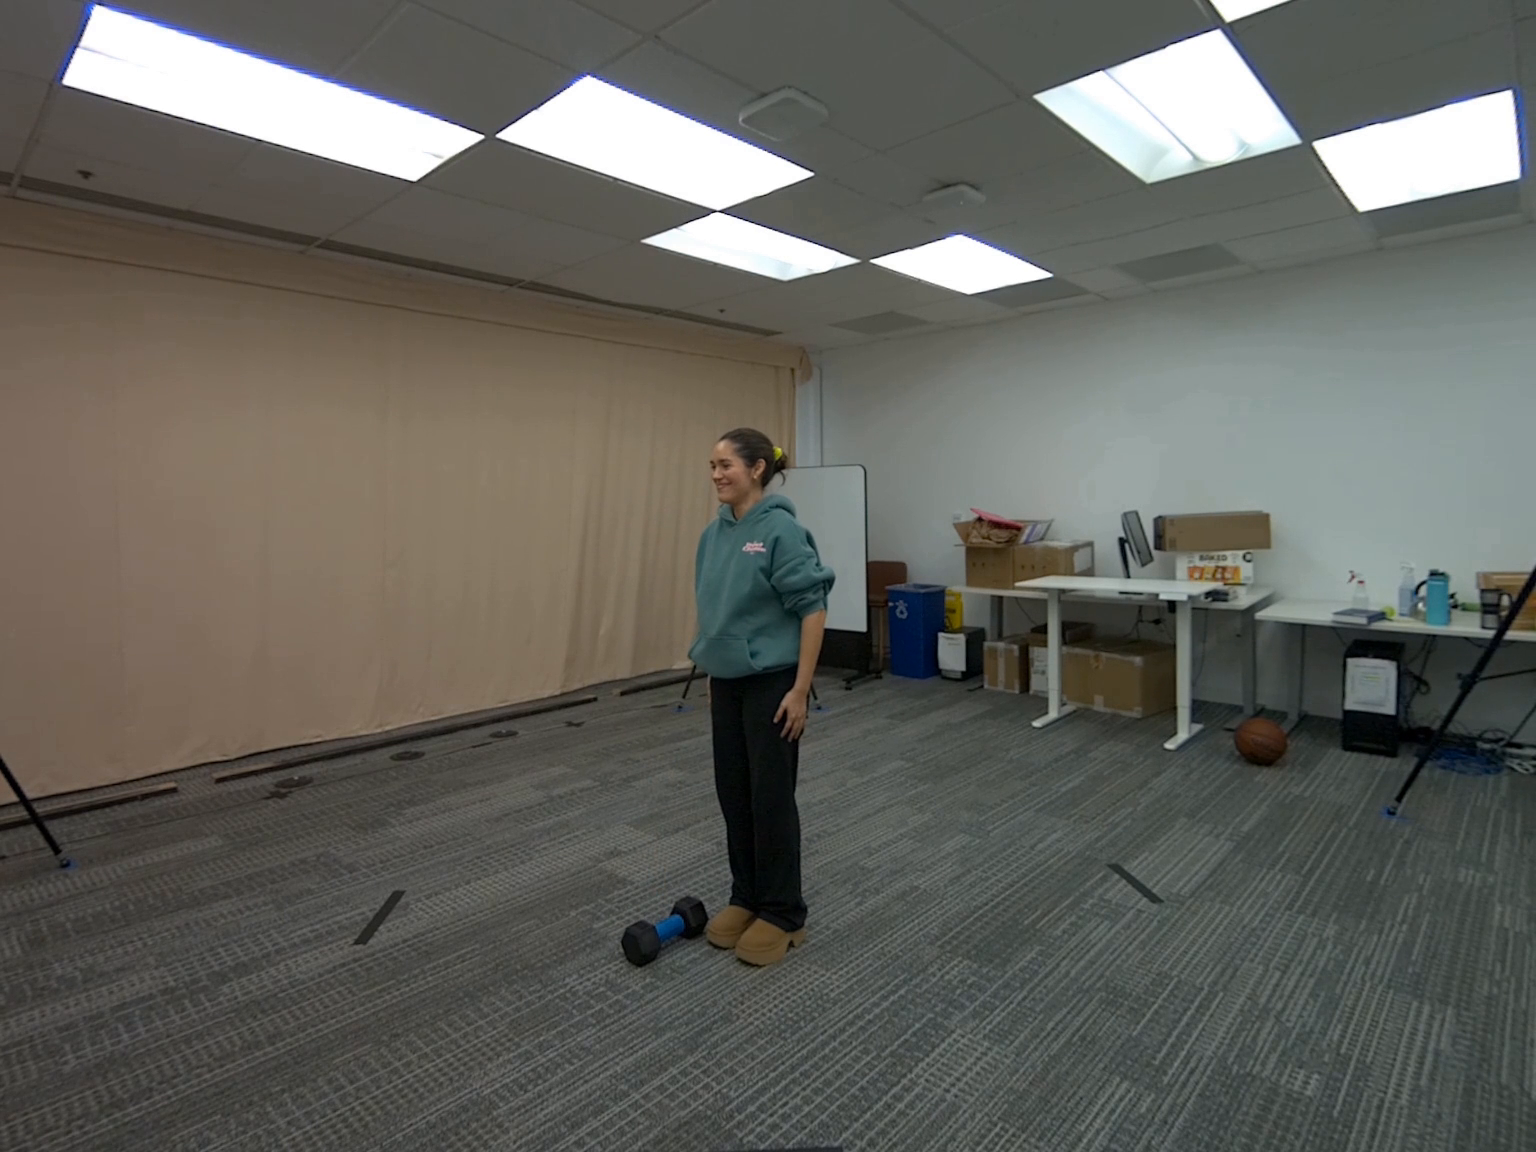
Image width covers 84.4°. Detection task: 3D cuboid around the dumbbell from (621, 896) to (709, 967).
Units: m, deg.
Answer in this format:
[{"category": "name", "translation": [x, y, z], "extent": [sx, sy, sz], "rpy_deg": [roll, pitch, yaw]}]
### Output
[{"category": "dumbbell", "translation": [-0.322, 1.126, 2.663], "extent": [0.285, 0.125, 0.110], "rpy_deg": [-7, -24, -49]}]
